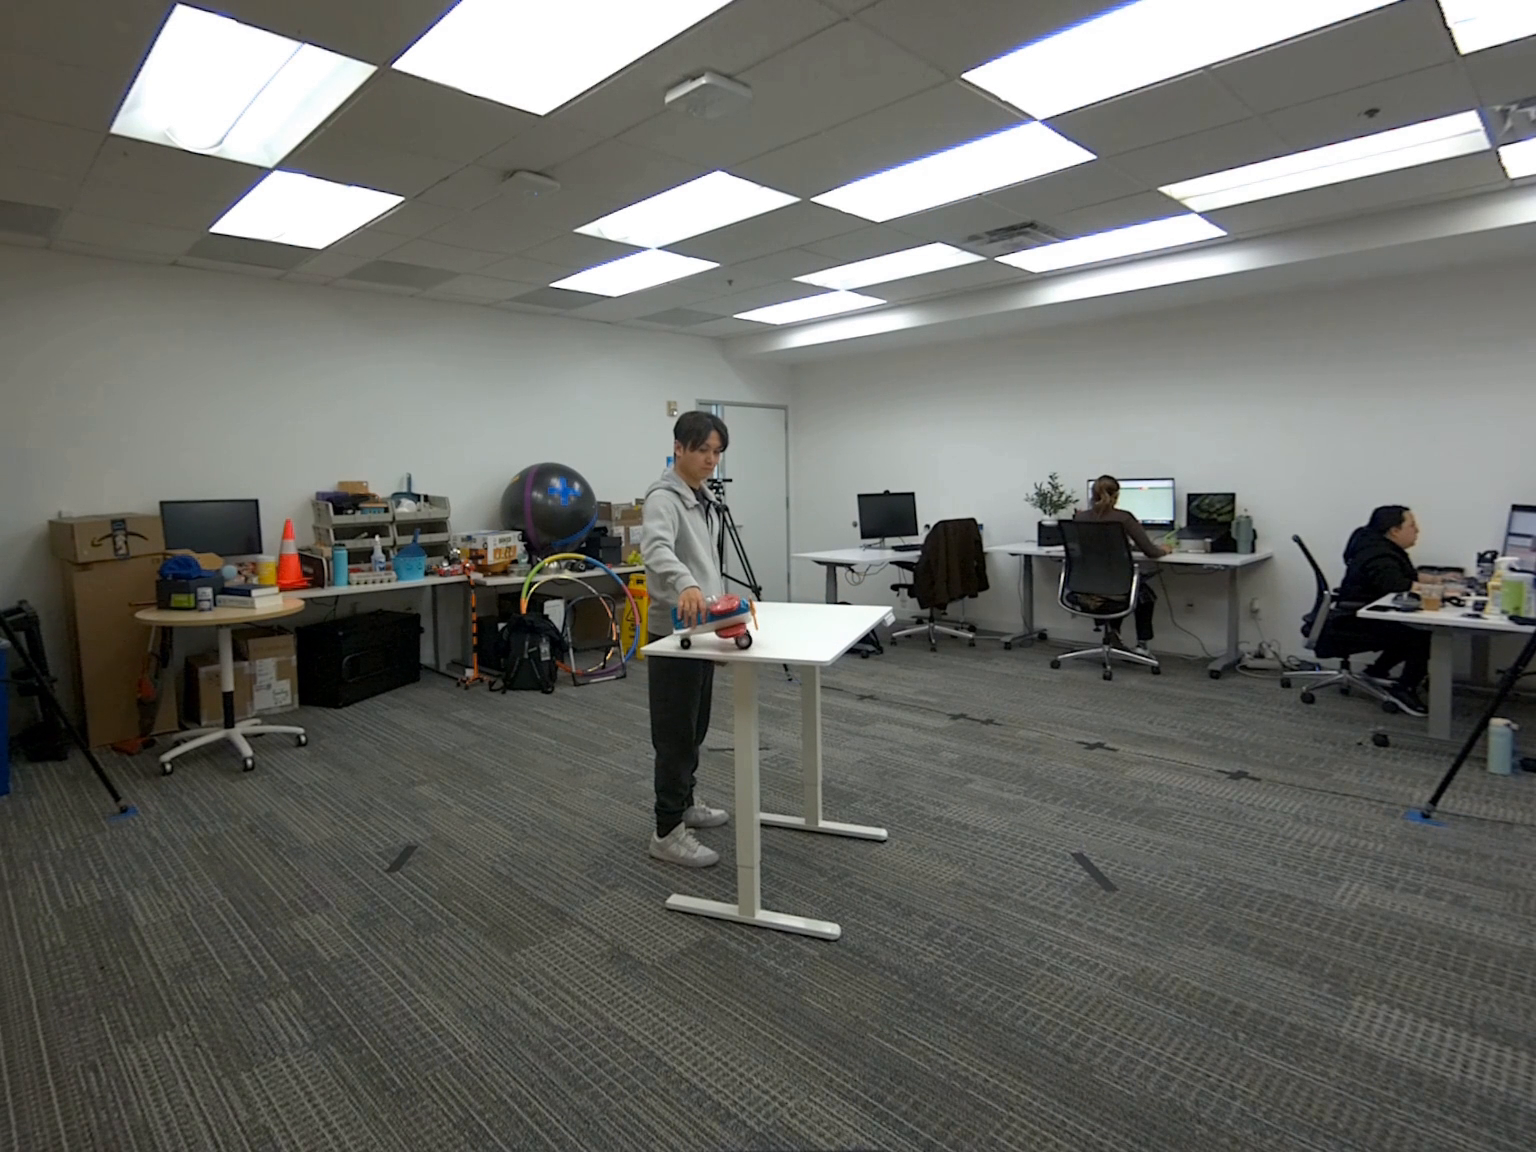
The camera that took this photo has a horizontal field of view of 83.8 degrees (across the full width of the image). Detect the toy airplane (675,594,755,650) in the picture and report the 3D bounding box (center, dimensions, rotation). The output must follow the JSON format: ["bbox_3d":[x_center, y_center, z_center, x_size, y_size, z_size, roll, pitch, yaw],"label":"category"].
[{"bbox_3d":[-0.159,0.145,2.614,0.253,0.156,0.258,-4,6,-32],"label":"toy airplane"}]
